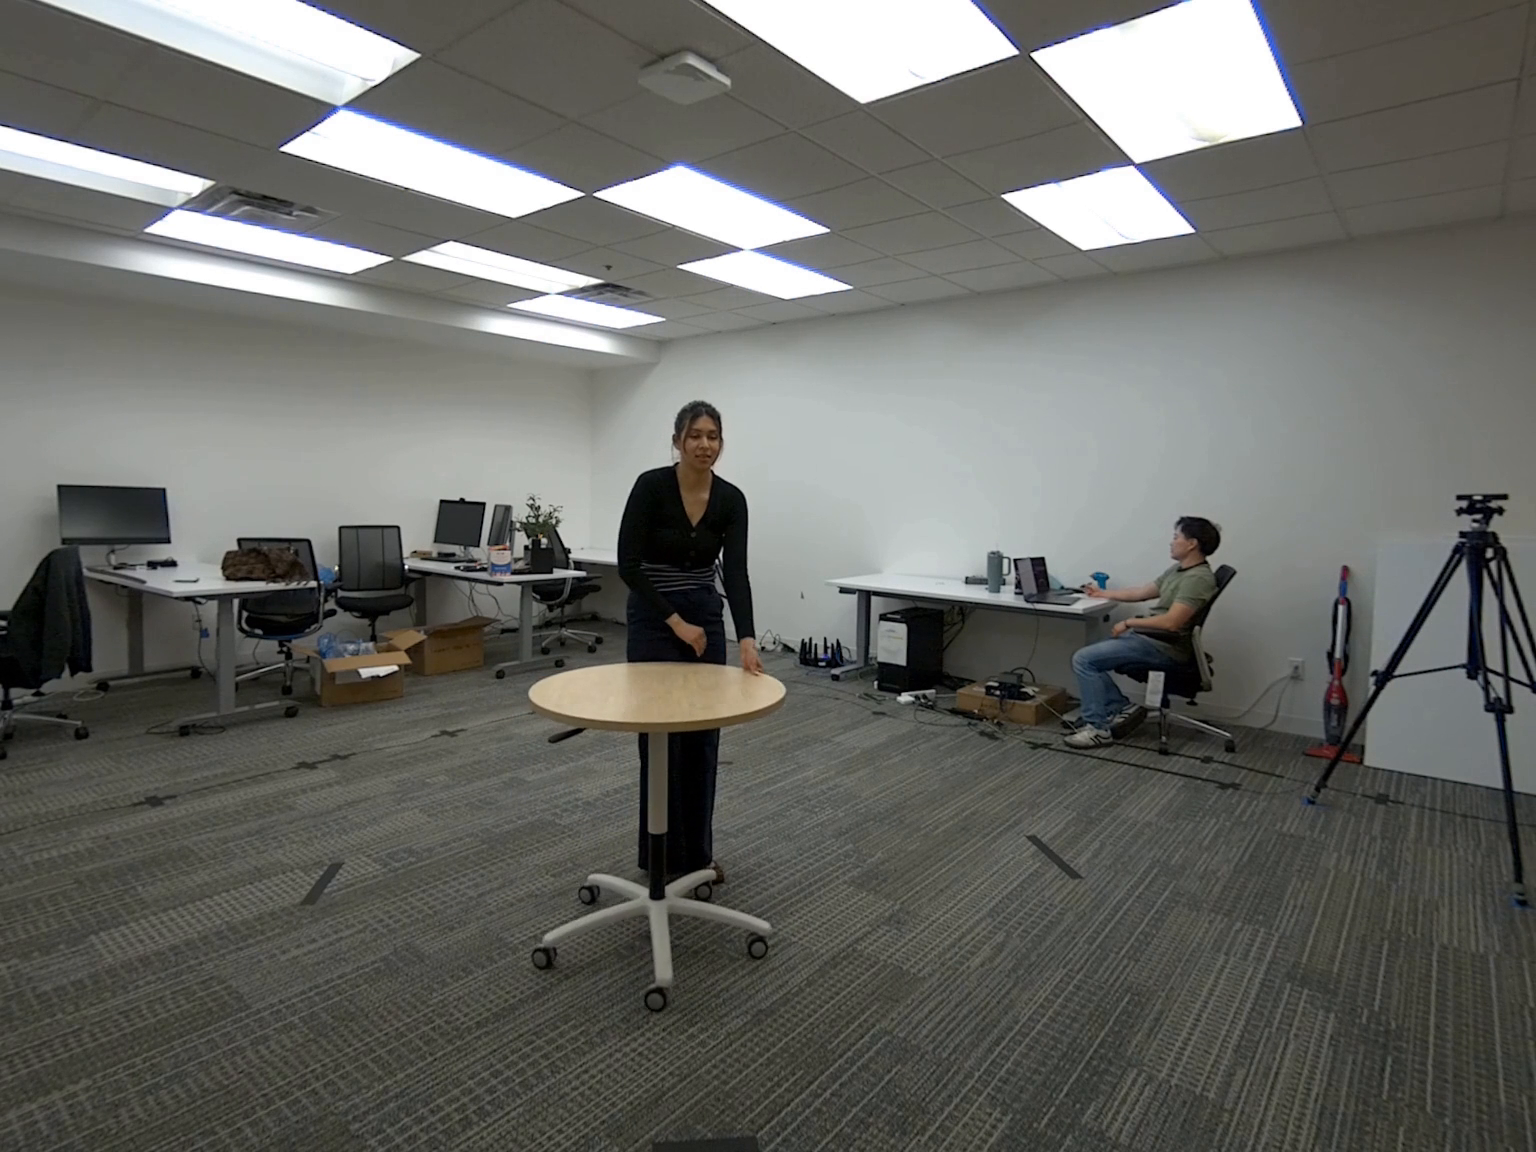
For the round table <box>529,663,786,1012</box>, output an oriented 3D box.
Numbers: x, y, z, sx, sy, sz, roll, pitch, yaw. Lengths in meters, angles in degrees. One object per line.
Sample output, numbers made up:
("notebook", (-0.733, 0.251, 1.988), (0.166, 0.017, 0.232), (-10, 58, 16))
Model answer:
("round table", (-0.345, 0.727, 2.575), (0.763, 0.791, 0.768), (0, 4, -2))
